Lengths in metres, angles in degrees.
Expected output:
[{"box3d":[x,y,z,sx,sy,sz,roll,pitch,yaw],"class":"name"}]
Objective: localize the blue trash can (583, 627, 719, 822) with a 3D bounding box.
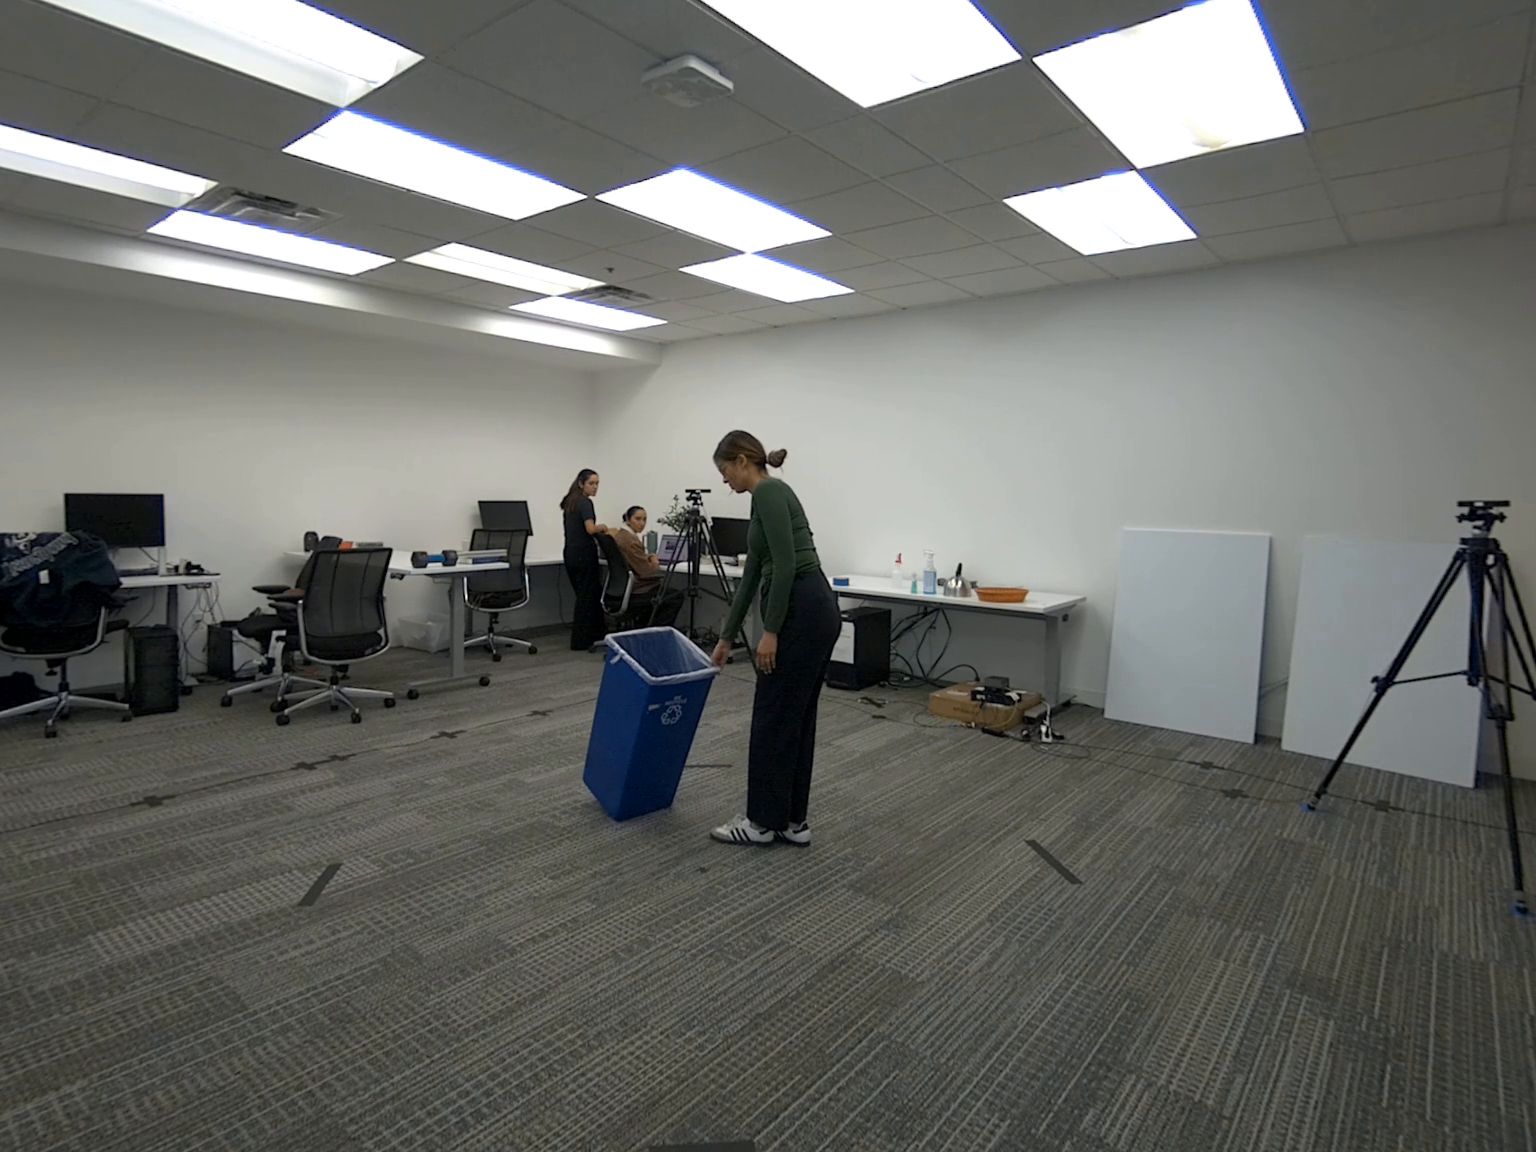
[{"box3d":[-0.551,0.628,3.632,0.367,0.705,0.390,-3,27,-43],"class":"blue trash can"}]
